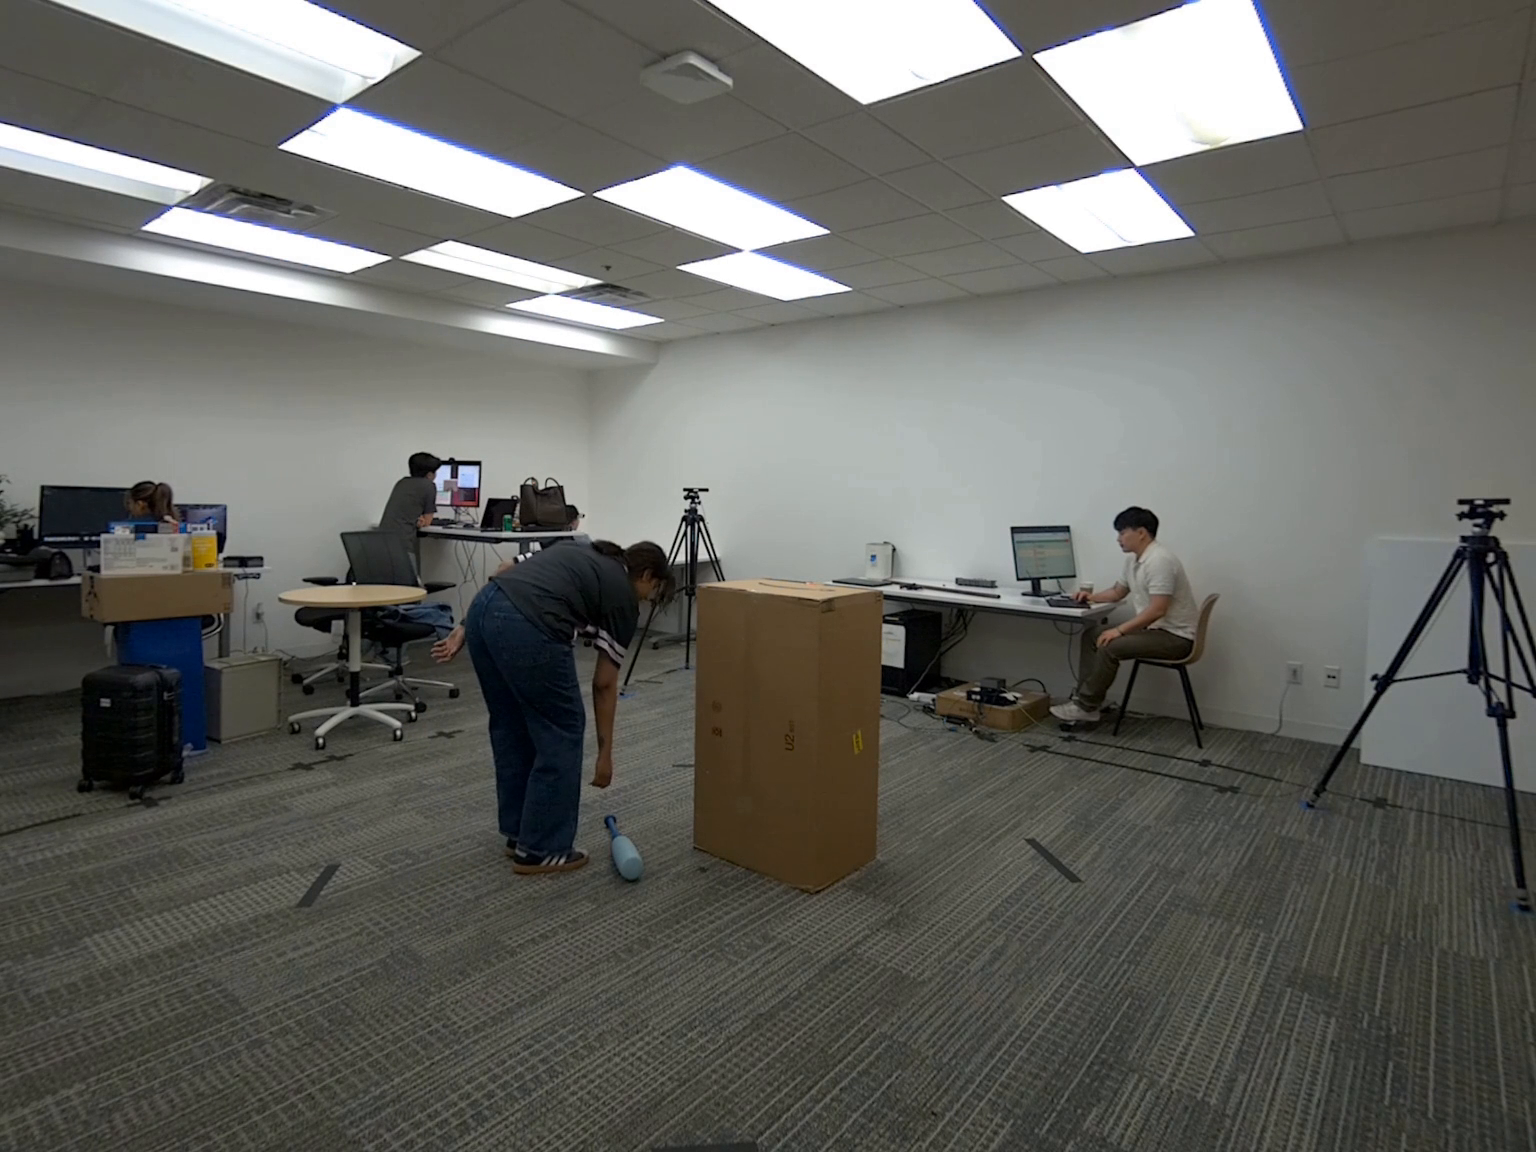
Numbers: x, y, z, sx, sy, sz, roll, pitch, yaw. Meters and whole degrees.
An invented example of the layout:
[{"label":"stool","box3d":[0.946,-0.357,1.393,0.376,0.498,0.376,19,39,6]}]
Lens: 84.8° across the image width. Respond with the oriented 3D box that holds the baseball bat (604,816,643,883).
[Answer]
[{"label":"baseball bat","box3d":[-0.573,1.016,3.241,0.087,0.089,0.553,0,3,-18]}]
